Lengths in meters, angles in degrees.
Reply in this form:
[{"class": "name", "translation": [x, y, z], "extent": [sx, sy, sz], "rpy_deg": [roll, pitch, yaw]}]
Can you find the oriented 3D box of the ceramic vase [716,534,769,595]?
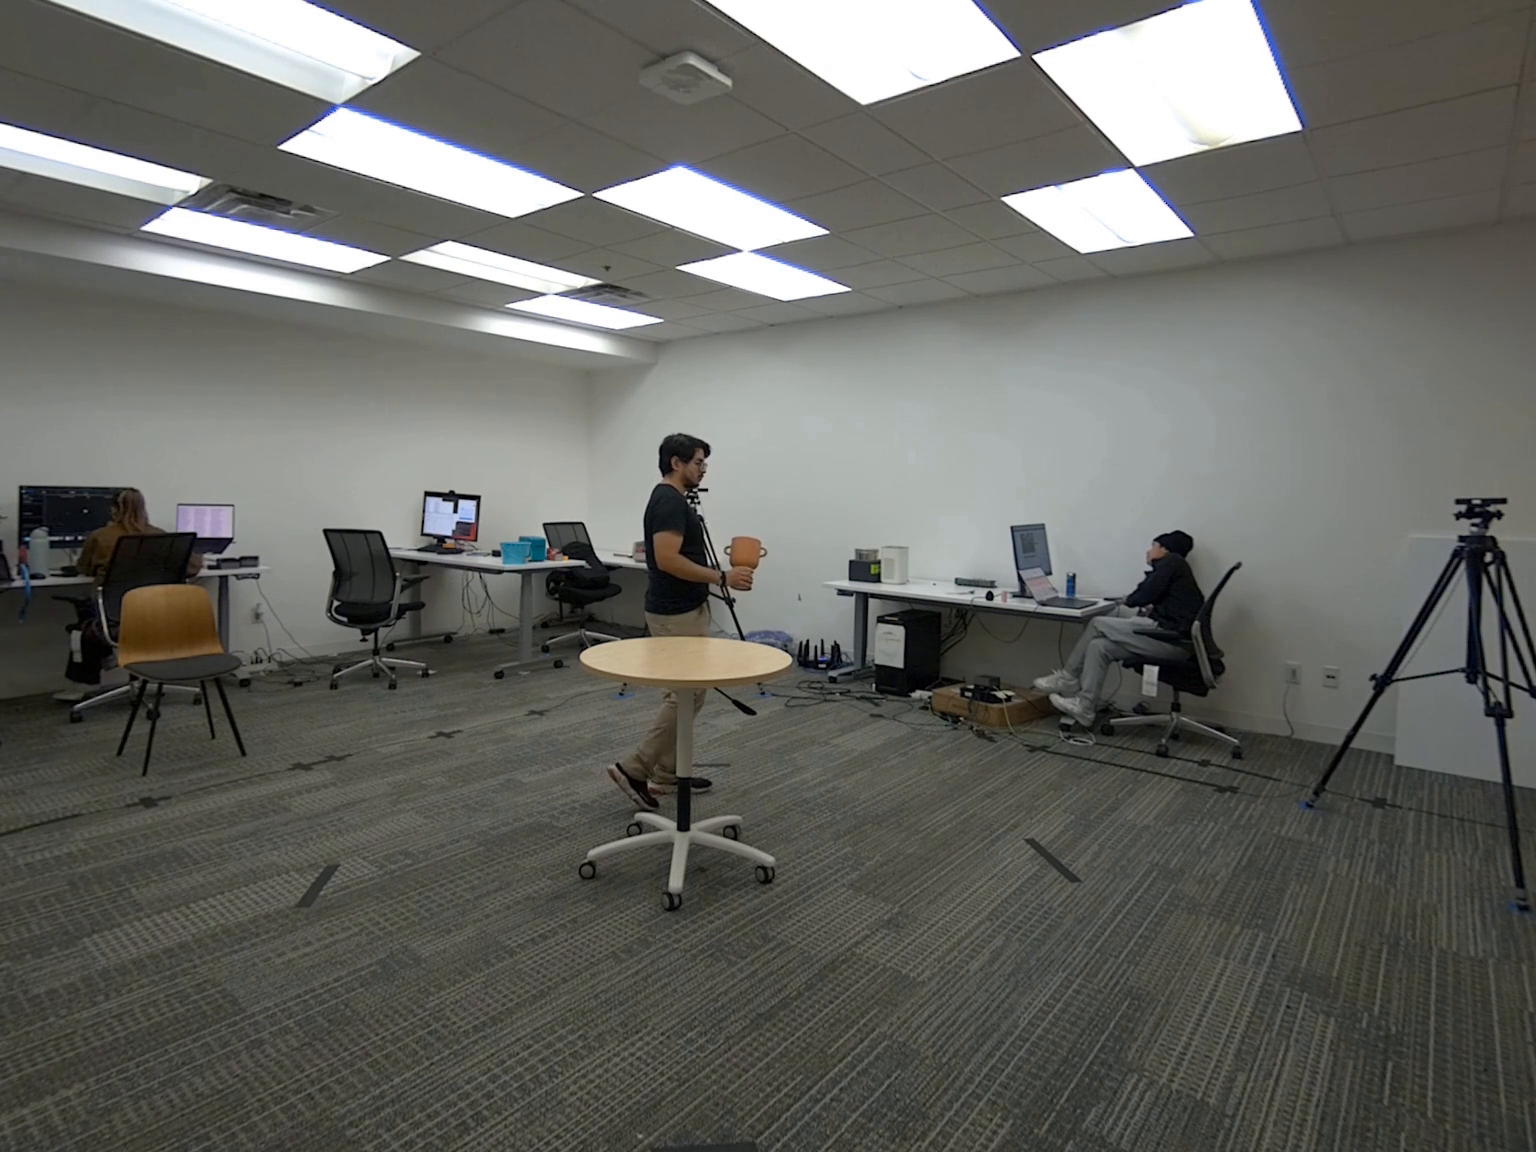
[{"class": "ceramic vase", "translation": [-0.117, -0.052, 3.750], "extent": [0.130, 0.223, 0.162], "rpy_deg": [20, -20, -34]}]
